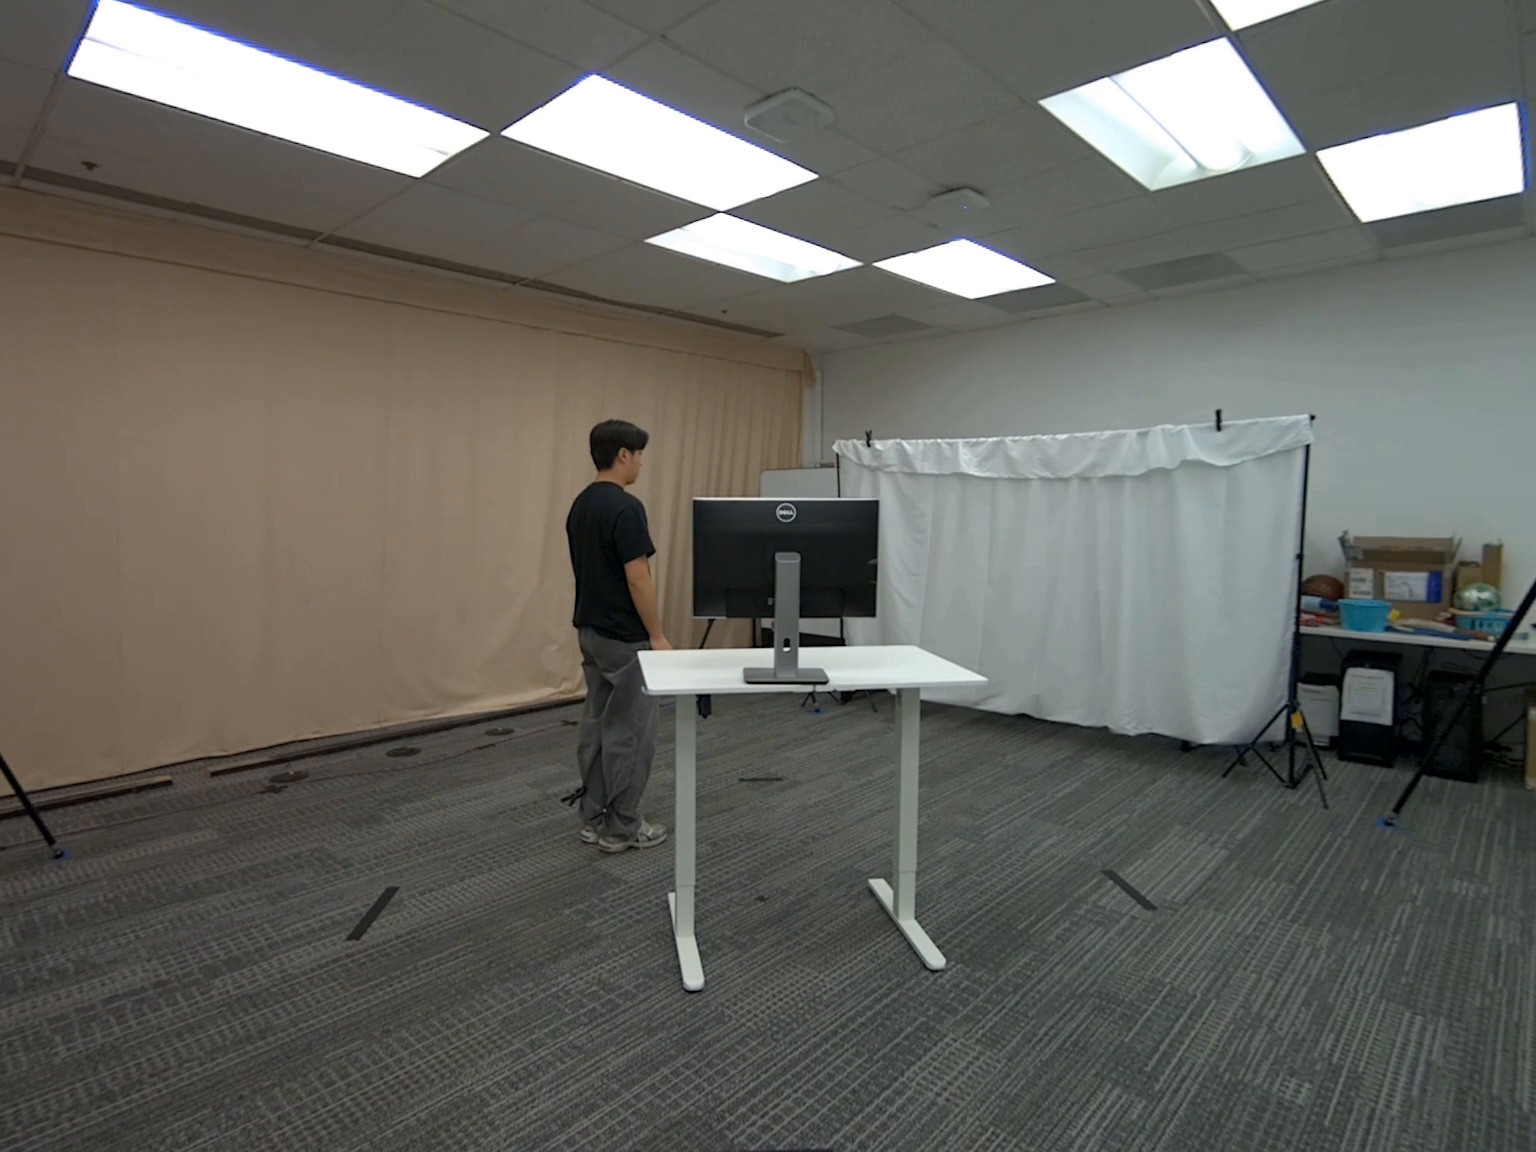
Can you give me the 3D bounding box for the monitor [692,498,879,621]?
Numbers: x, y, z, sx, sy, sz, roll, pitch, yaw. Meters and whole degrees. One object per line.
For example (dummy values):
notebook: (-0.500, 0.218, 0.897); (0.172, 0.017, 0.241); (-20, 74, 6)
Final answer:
monitor: (0.052, 0.048, 2.481); (0.564, 0.567, 0.221); (1, -4, 3)
